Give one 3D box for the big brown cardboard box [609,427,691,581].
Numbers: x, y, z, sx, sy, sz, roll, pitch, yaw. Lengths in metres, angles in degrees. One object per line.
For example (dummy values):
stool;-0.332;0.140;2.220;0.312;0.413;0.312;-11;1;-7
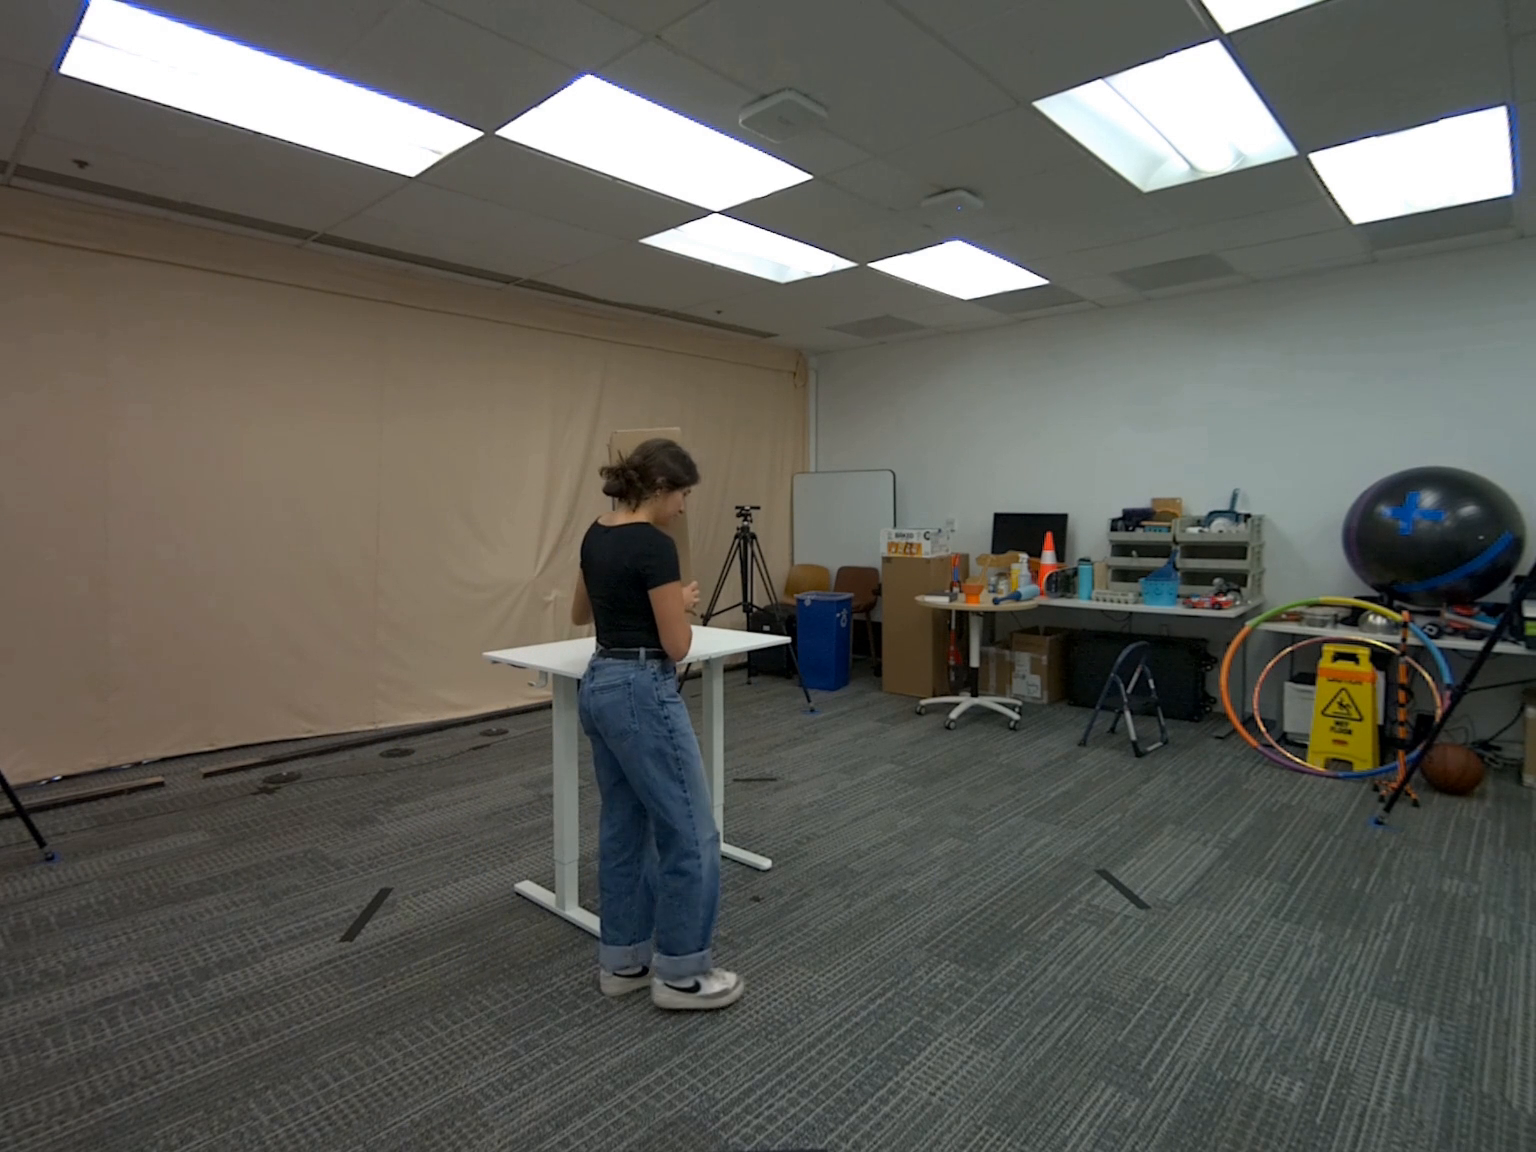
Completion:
big brown cardboard box;-0.384;-0.156;2.757;0.231;0.591;0.419;-3;-5;-8
